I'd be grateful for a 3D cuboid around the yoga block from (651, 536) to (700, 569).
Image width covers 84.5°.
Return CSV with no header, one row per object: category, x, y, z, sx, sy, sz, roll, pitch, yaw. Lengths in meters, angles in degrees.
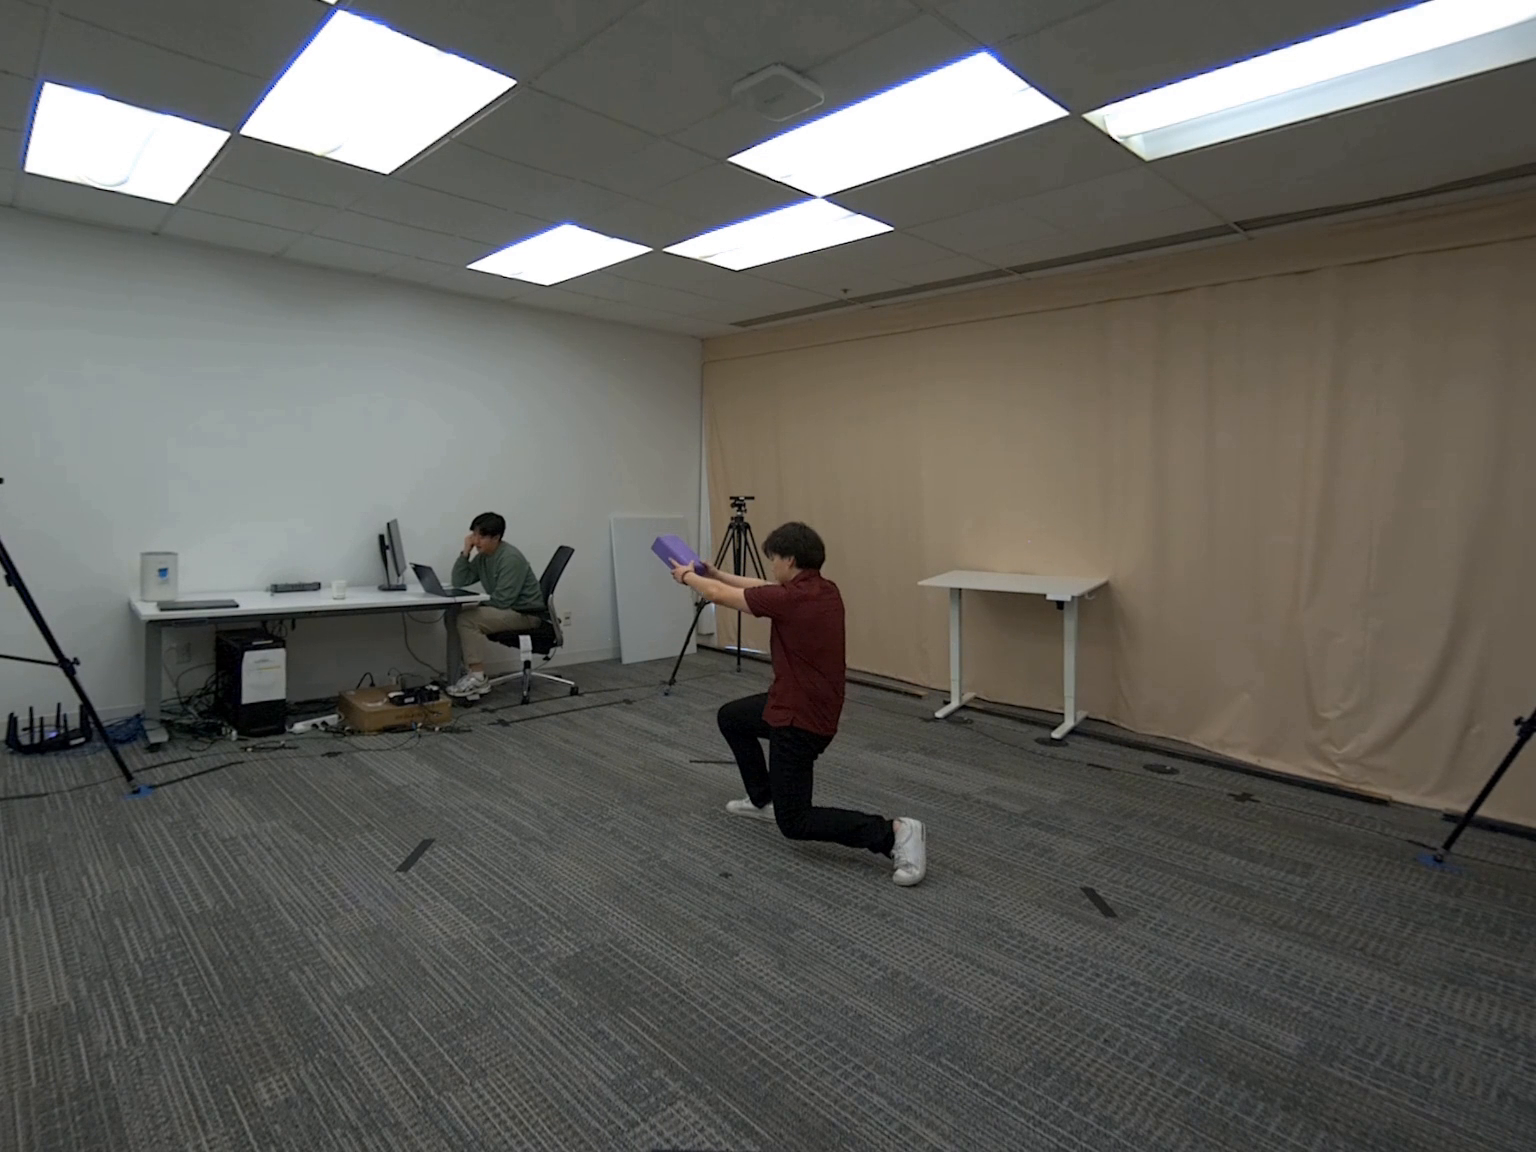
yoga block,-0.417,-0.093,3.839,0.235,0.076,0.146,43,24,25
